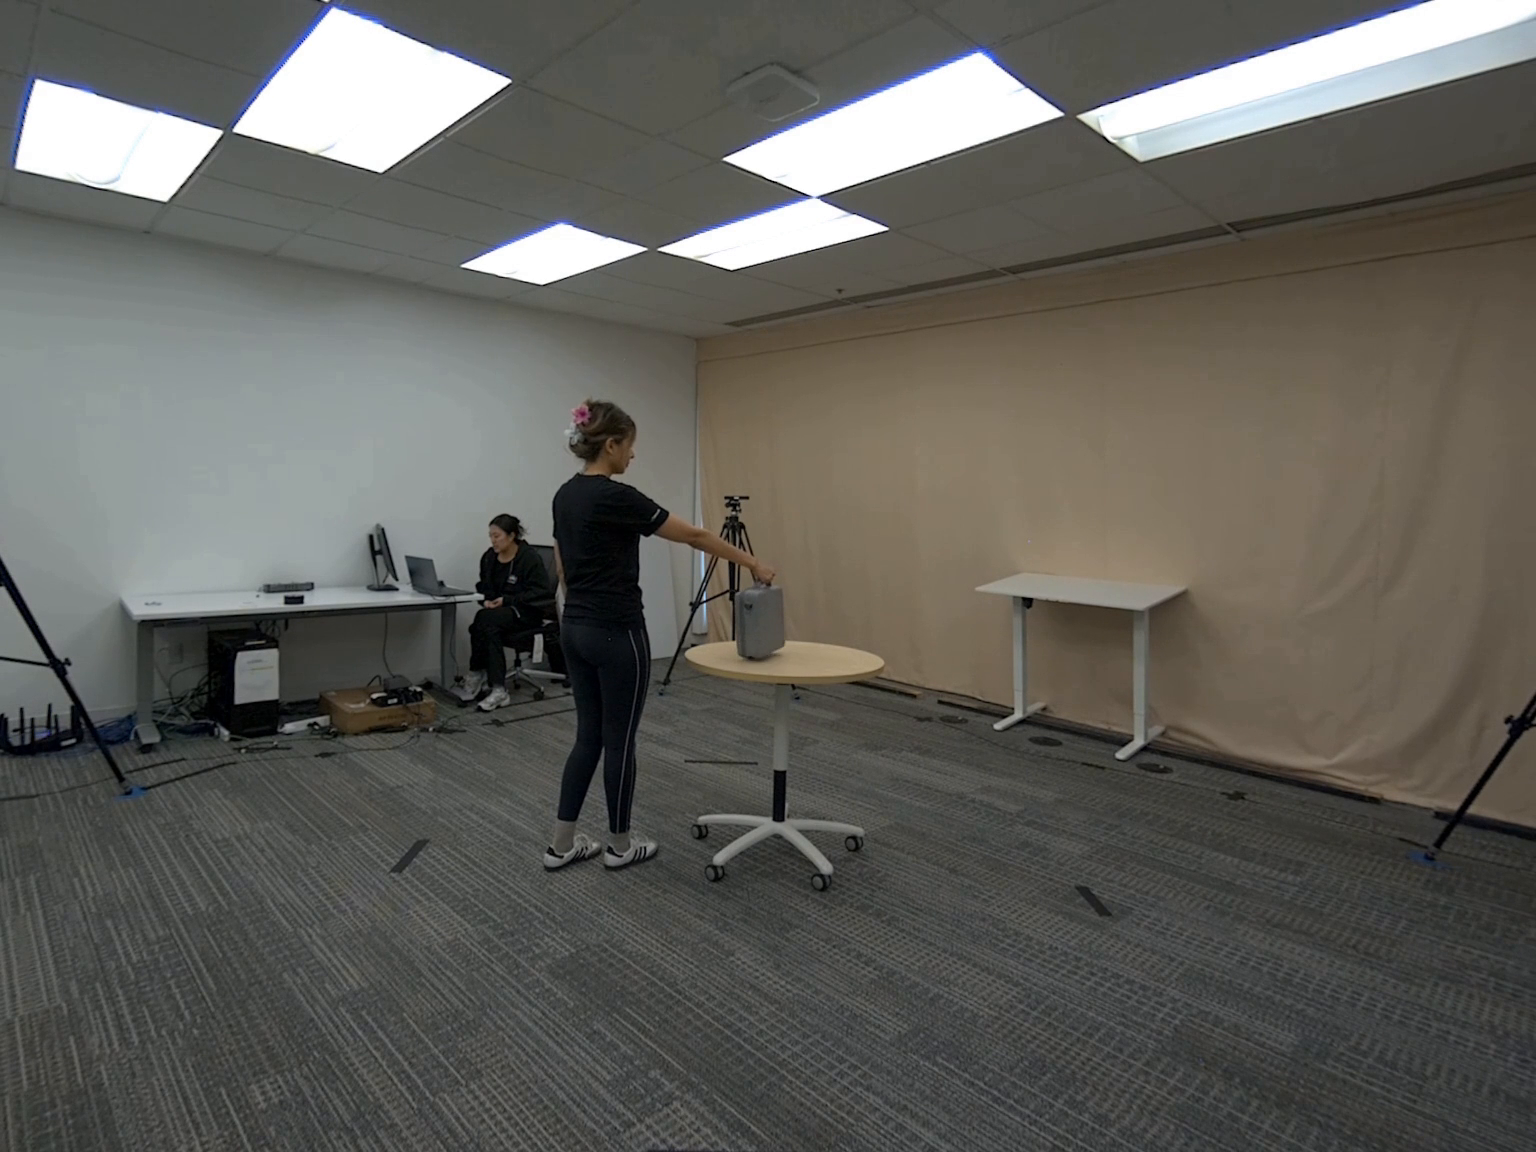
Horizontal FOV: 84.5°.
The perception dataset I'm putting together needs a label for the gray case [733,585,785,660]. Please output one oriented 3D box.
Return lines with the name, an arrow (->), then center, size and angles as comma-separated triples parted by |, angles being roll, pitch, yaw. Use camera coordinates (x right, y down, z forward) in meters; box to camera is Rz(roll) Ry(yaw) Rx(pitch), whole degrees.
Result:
gray case -> -0.036, 0.160, 3.205 | 0.106, 0.260, 0.253 | 0, 5, 23
